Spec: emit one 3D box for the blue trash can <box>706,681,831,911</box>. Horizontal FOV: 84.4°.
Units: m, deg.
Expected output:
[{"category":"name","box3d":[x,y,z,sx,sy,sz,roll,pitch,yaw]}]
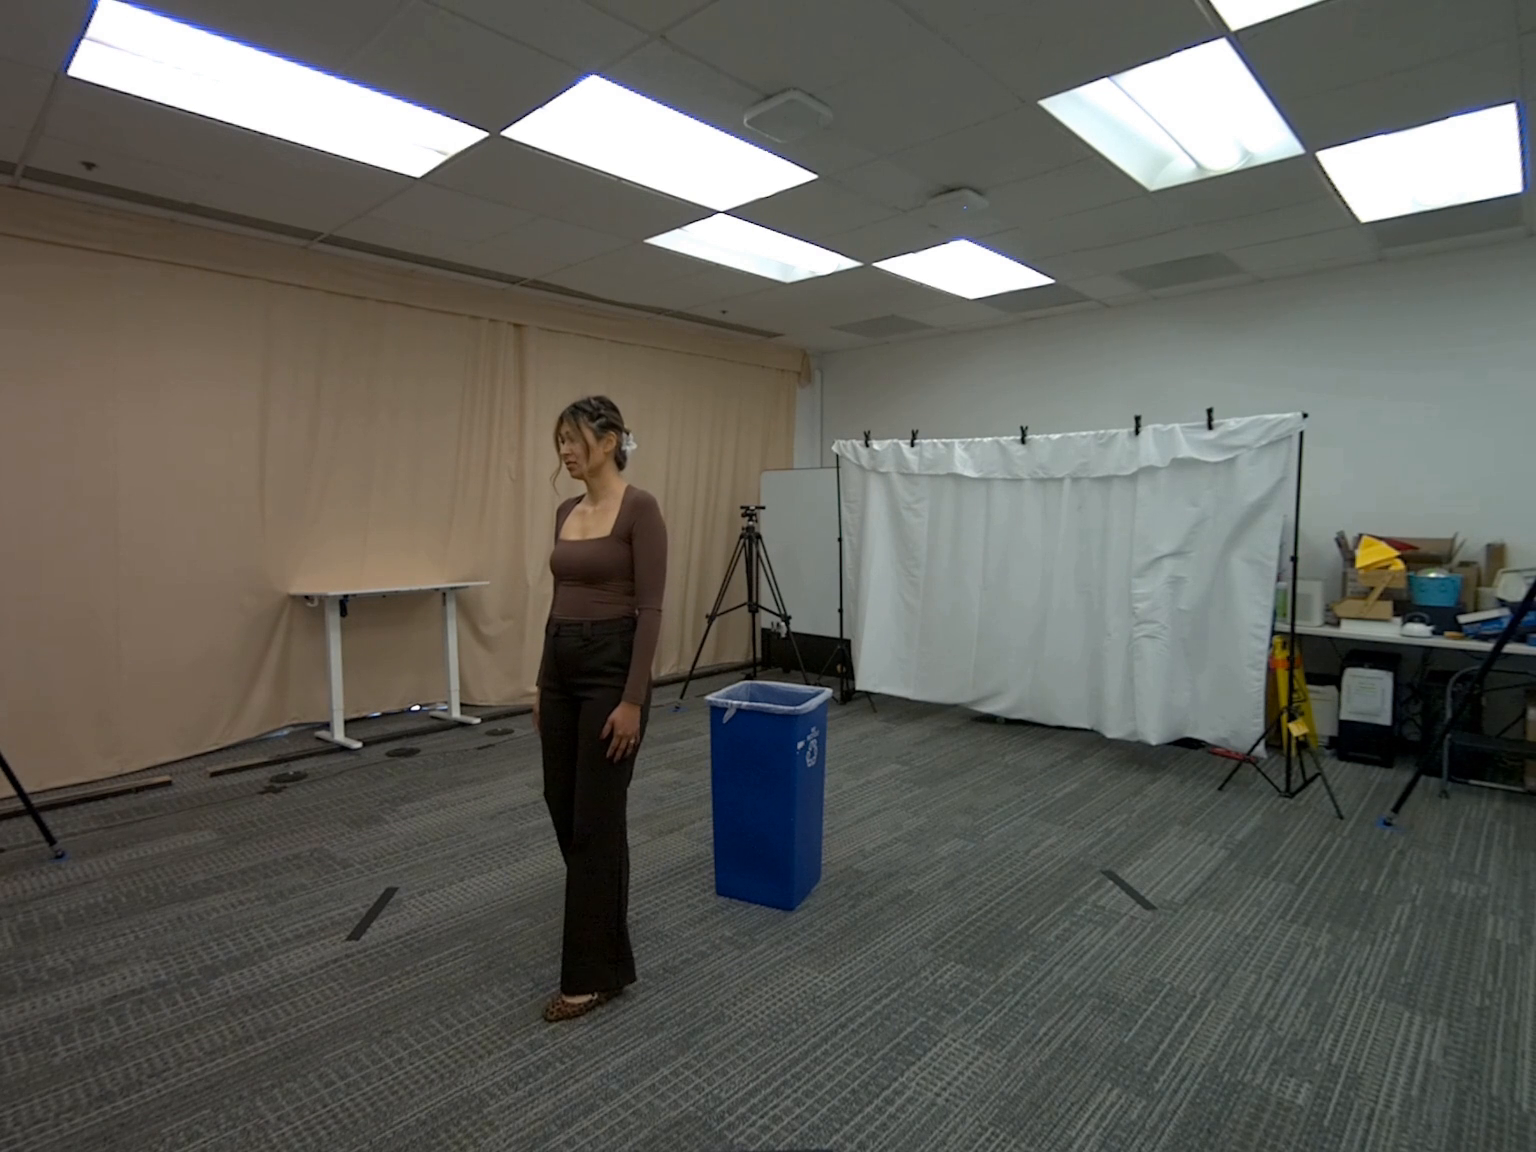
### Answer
[{"category":"blue trash can","box3d":[0.009,0.777,3.071,0.388,0.712,0.365,2,4,25]}]
